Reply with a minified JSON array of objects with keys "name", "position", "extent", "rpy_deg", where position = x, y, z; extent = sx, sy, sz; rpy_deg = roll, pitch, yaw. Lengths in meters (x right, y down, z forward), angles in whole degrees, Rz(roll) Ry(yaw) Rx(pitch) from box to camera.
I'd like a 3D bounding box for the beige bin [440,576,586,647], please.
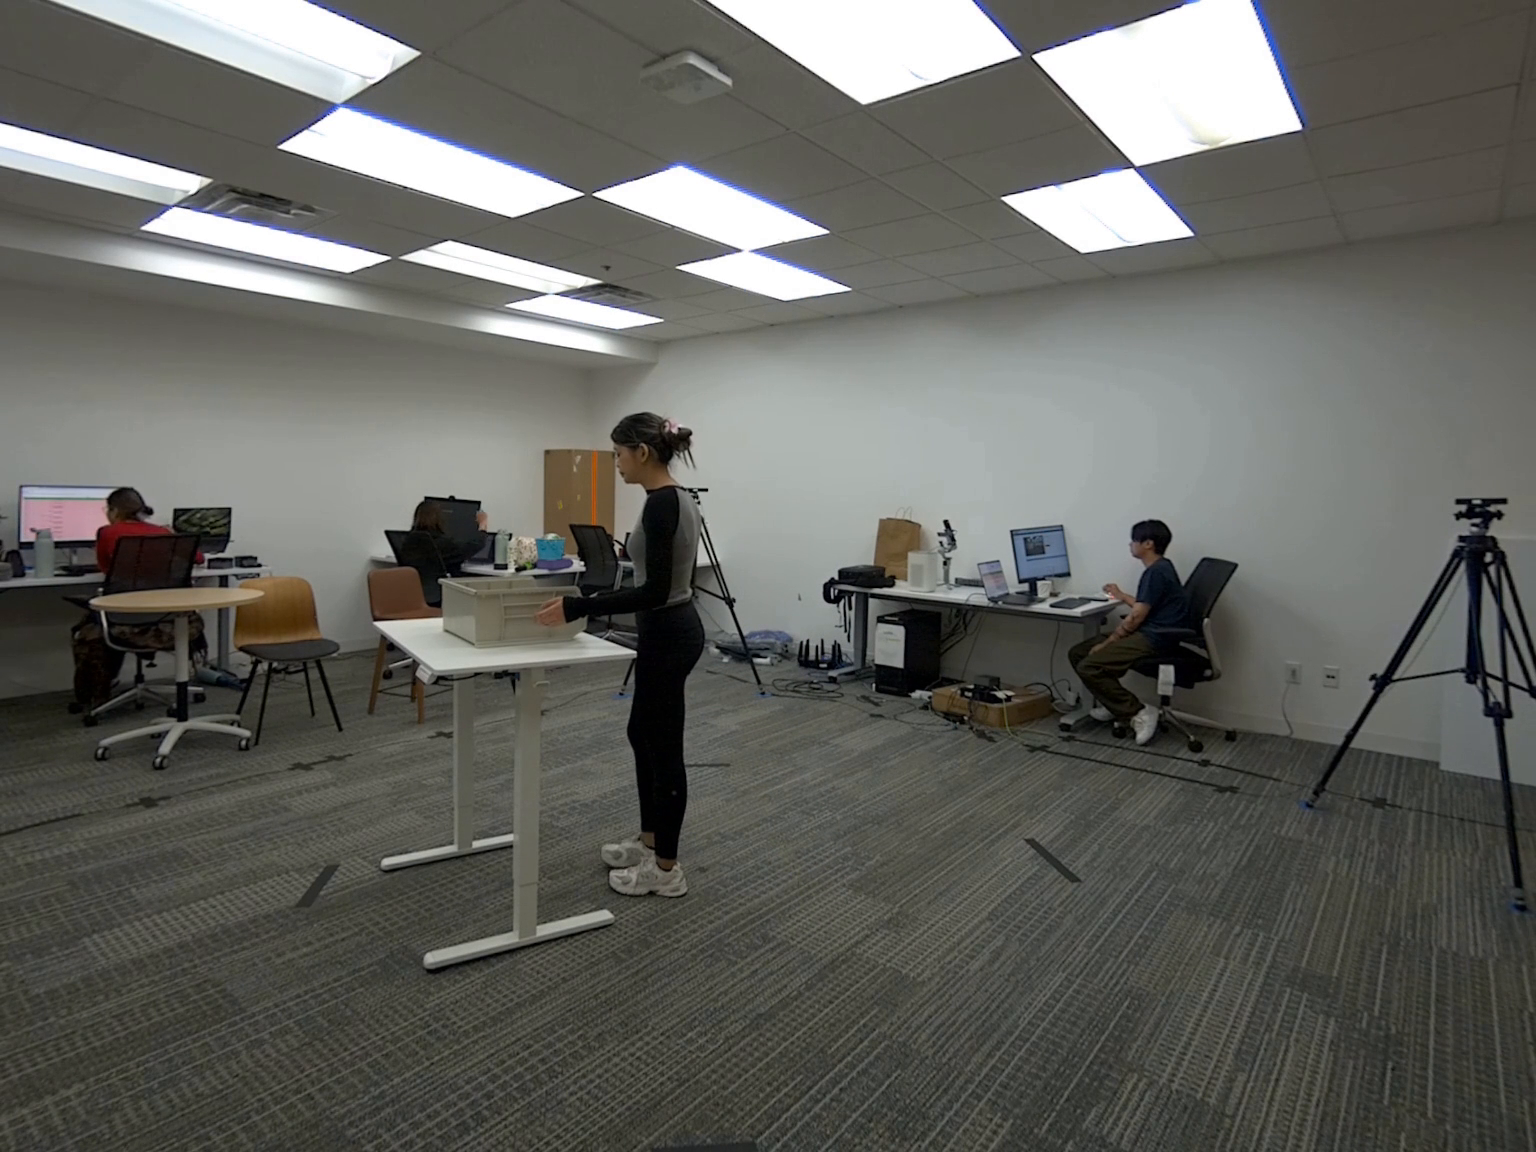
[{"name":"beige bin","position":[-0.883,0.112,2.880],"extent":[0.367,0.188,0.436],"rpy_deg":[-3,7,-35]}]
